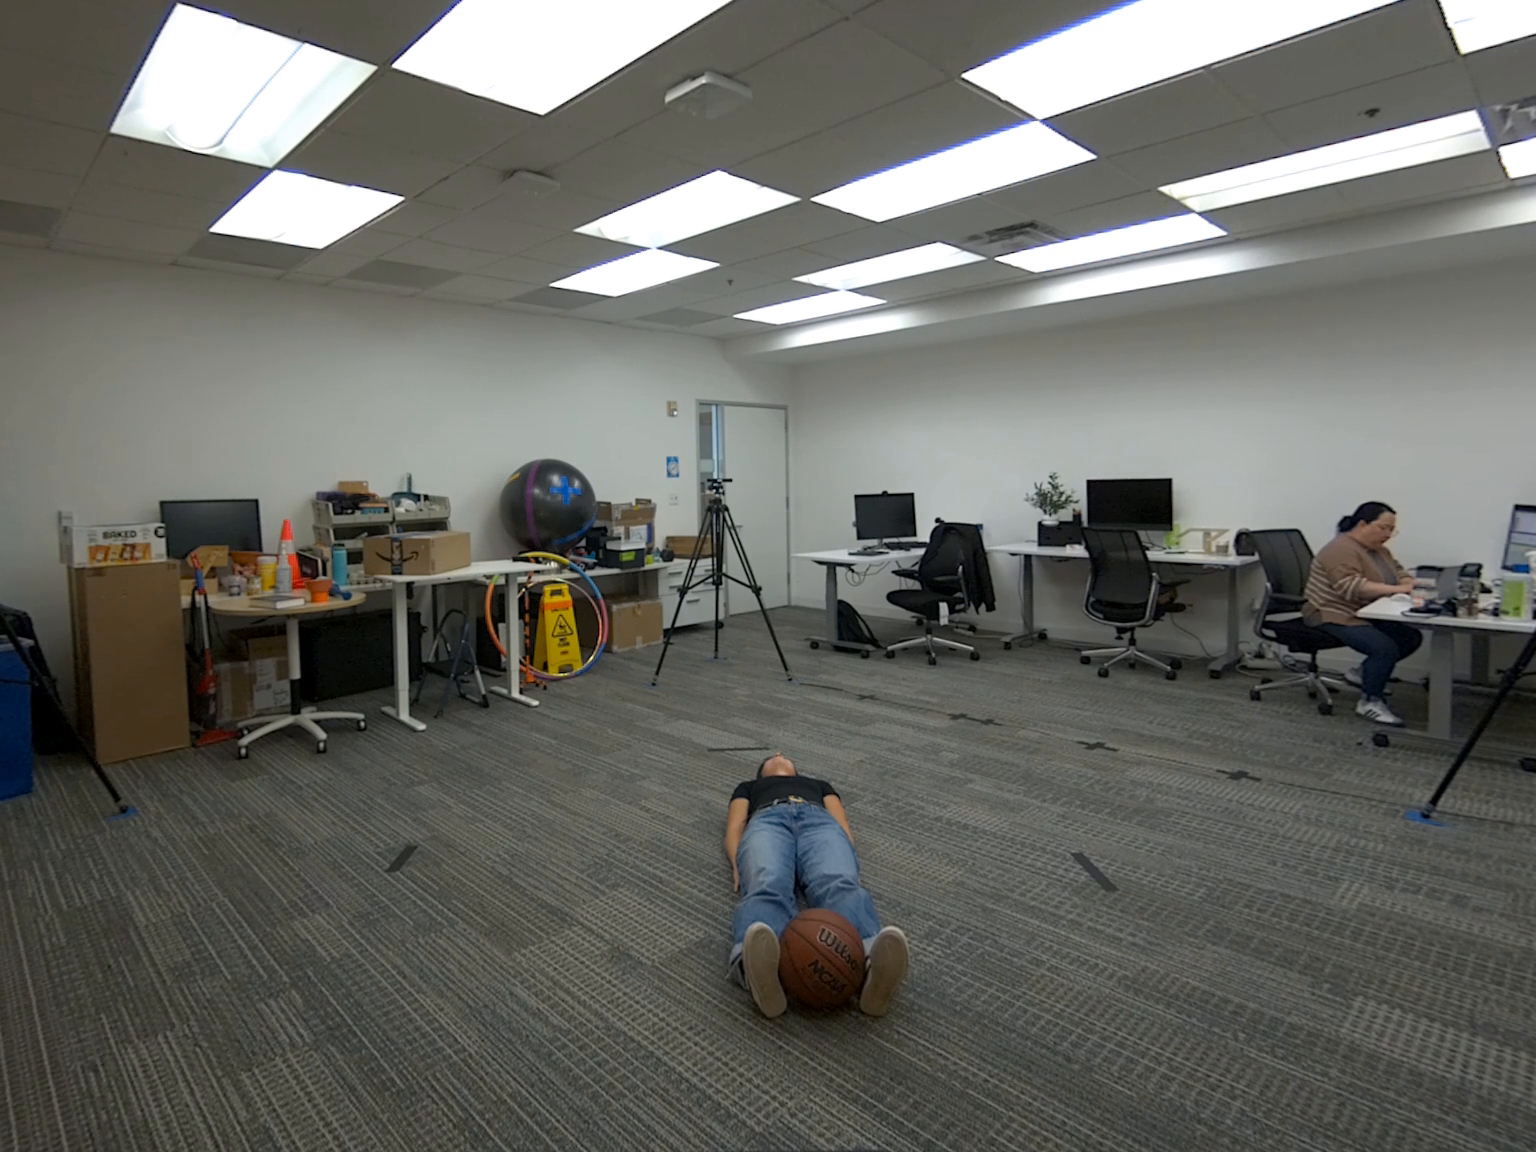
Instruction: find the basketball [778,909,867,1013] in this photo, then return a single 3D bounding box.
[{"bbox_3d":[0.151,1.018,2.283,0.236,0.235,0.237,-1,5,-2],"label":"basketball"}]
